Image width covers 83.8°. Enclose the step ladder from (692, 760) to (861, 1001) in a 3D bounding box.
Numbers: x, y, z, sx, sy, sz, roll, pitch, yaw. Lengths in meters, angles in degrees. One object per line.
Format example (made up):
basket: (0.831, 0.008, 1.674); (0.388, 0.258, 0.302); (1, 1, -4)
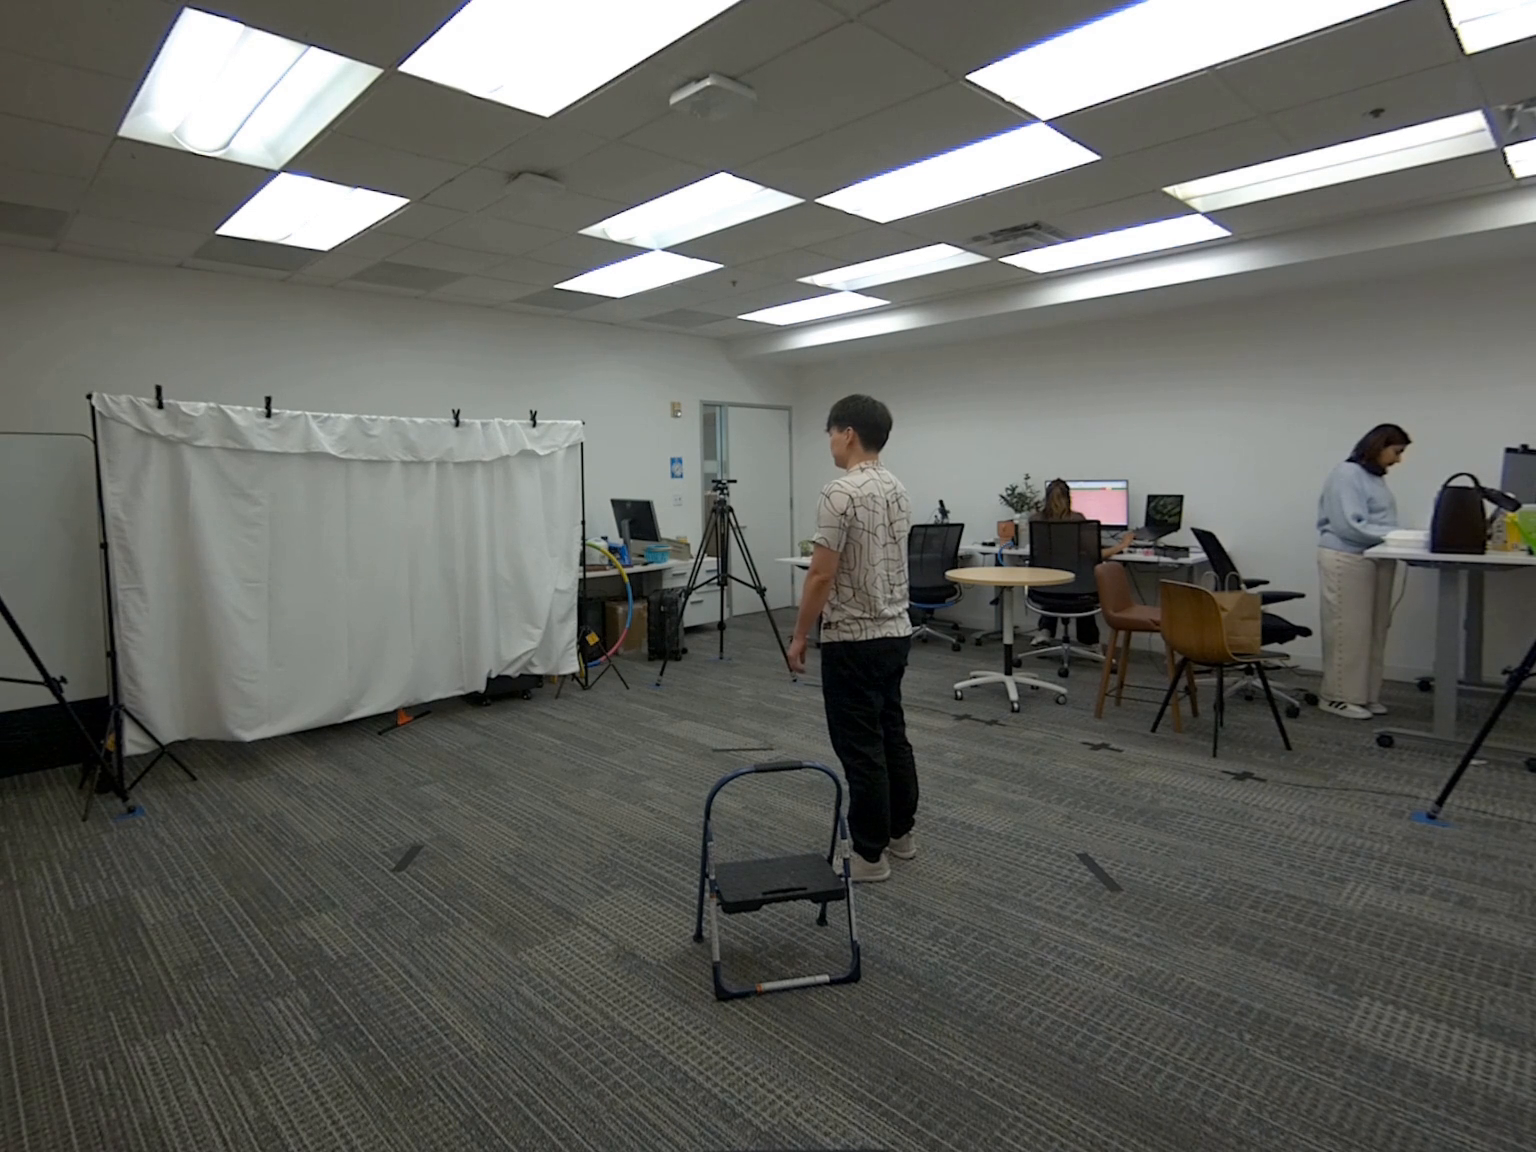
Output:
step ladder: (0.017, 0.815, 2.478); (0.425, 0.603, 0.355); (-3, 5, -14)
